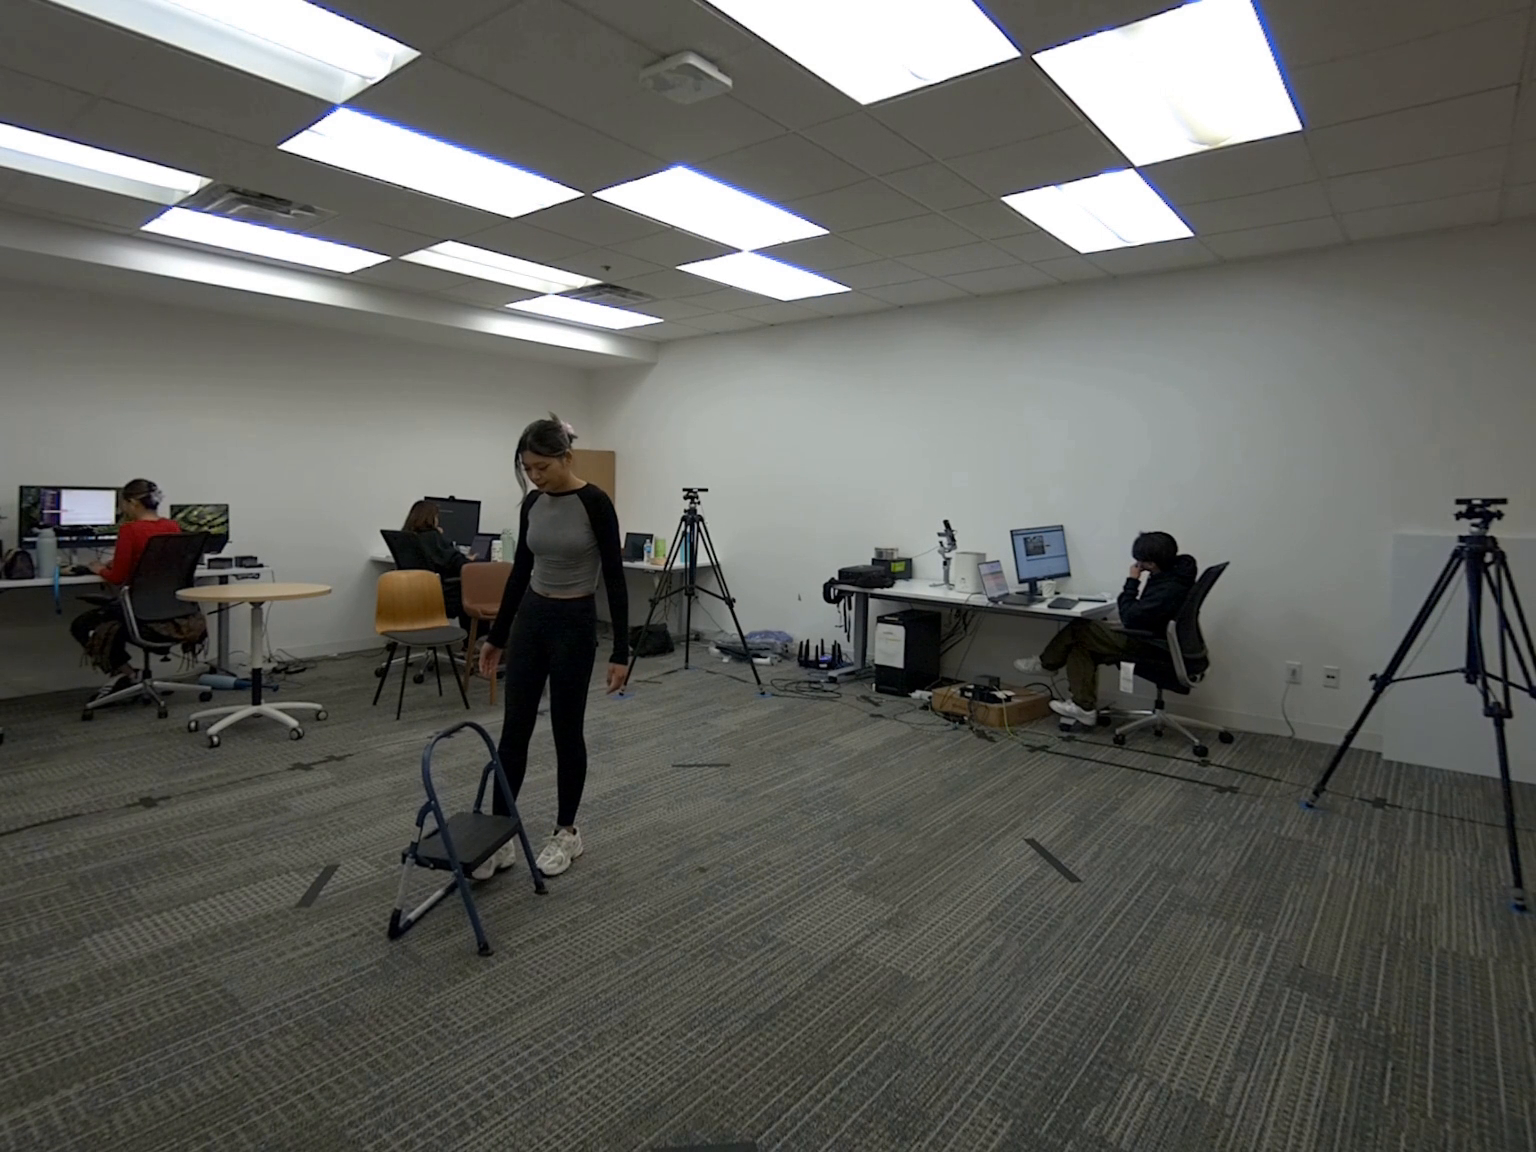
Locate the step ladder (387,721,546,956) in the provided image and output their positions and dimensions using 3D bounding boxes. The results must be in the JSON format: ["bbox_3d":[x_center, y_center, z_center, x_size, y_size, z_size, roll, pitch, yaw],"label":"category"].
[{"bbox_3d":[-0.963,0.796,2.730,0.354,0.604,0.426,2,4,11],"label":"step ladder"}]
